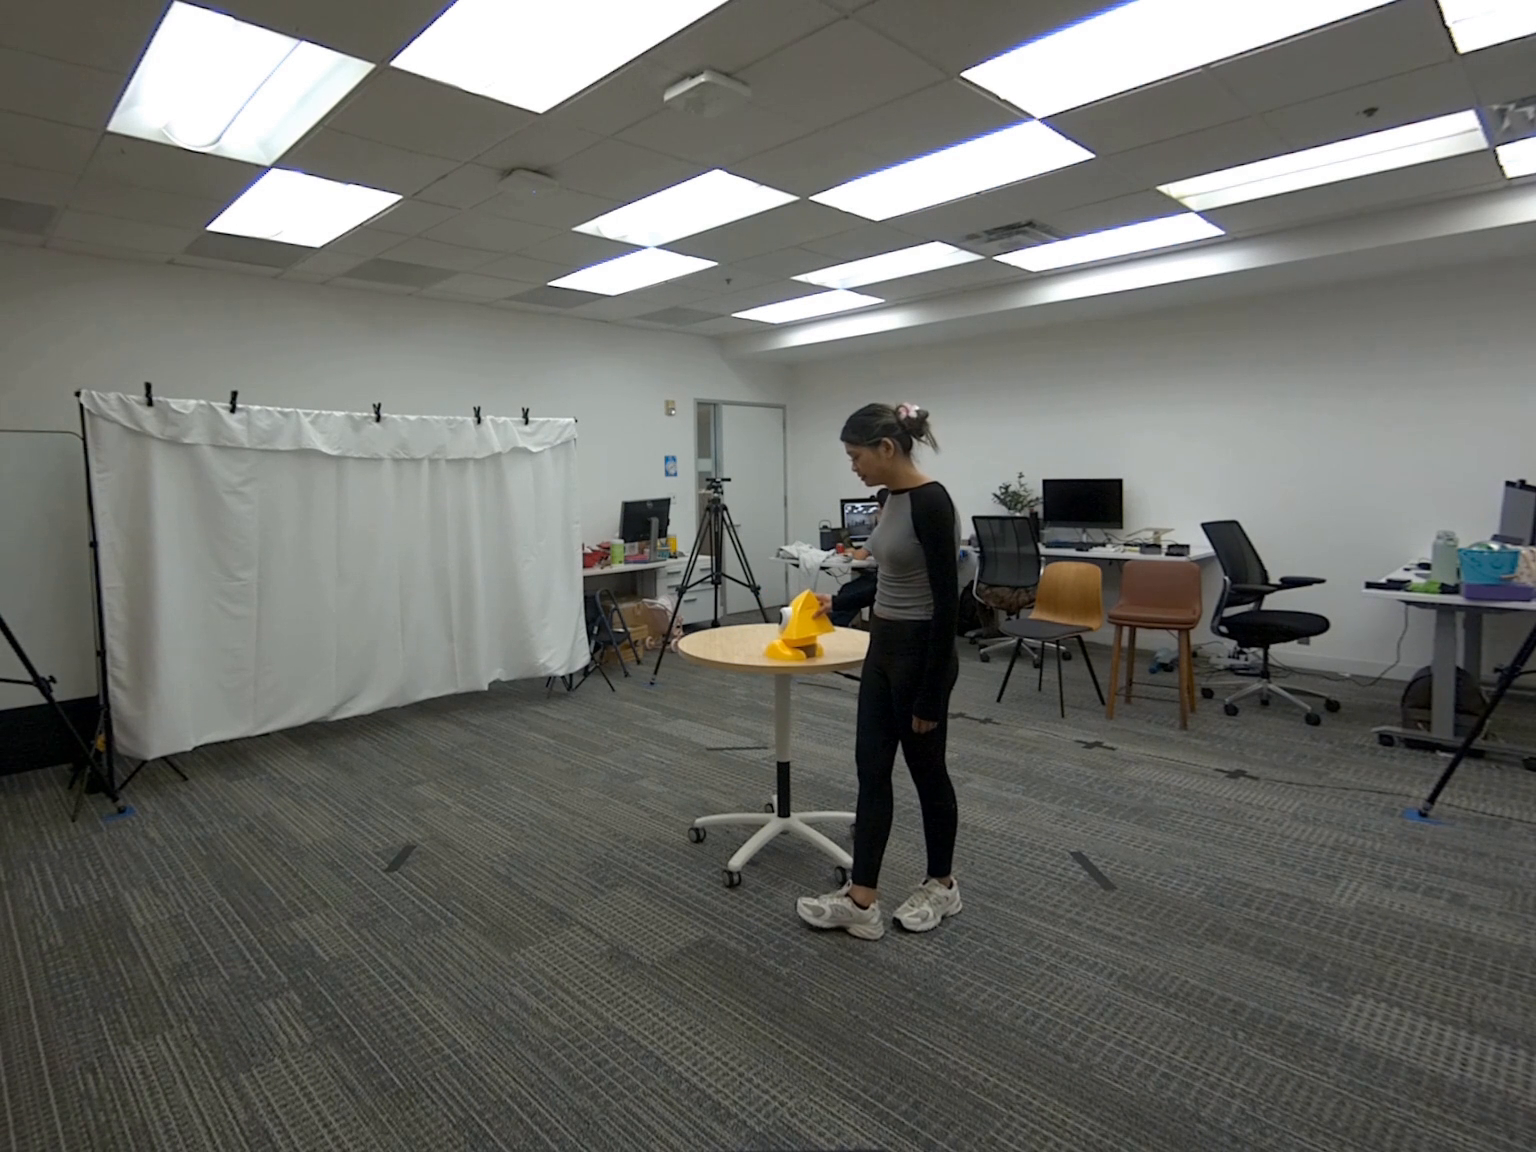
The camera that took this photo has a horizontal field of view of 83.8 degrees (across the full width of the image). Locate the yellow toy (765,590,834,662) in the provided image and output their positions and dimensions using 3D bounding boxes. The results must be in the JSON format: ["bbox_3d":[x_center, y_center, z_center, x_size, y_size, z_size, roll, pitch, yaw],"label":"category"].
[{"bbox_3d":[0.099,0.155,2.918,0.199,0.230,0.199,-5,6,-42],"label":"yellow toy"}]
